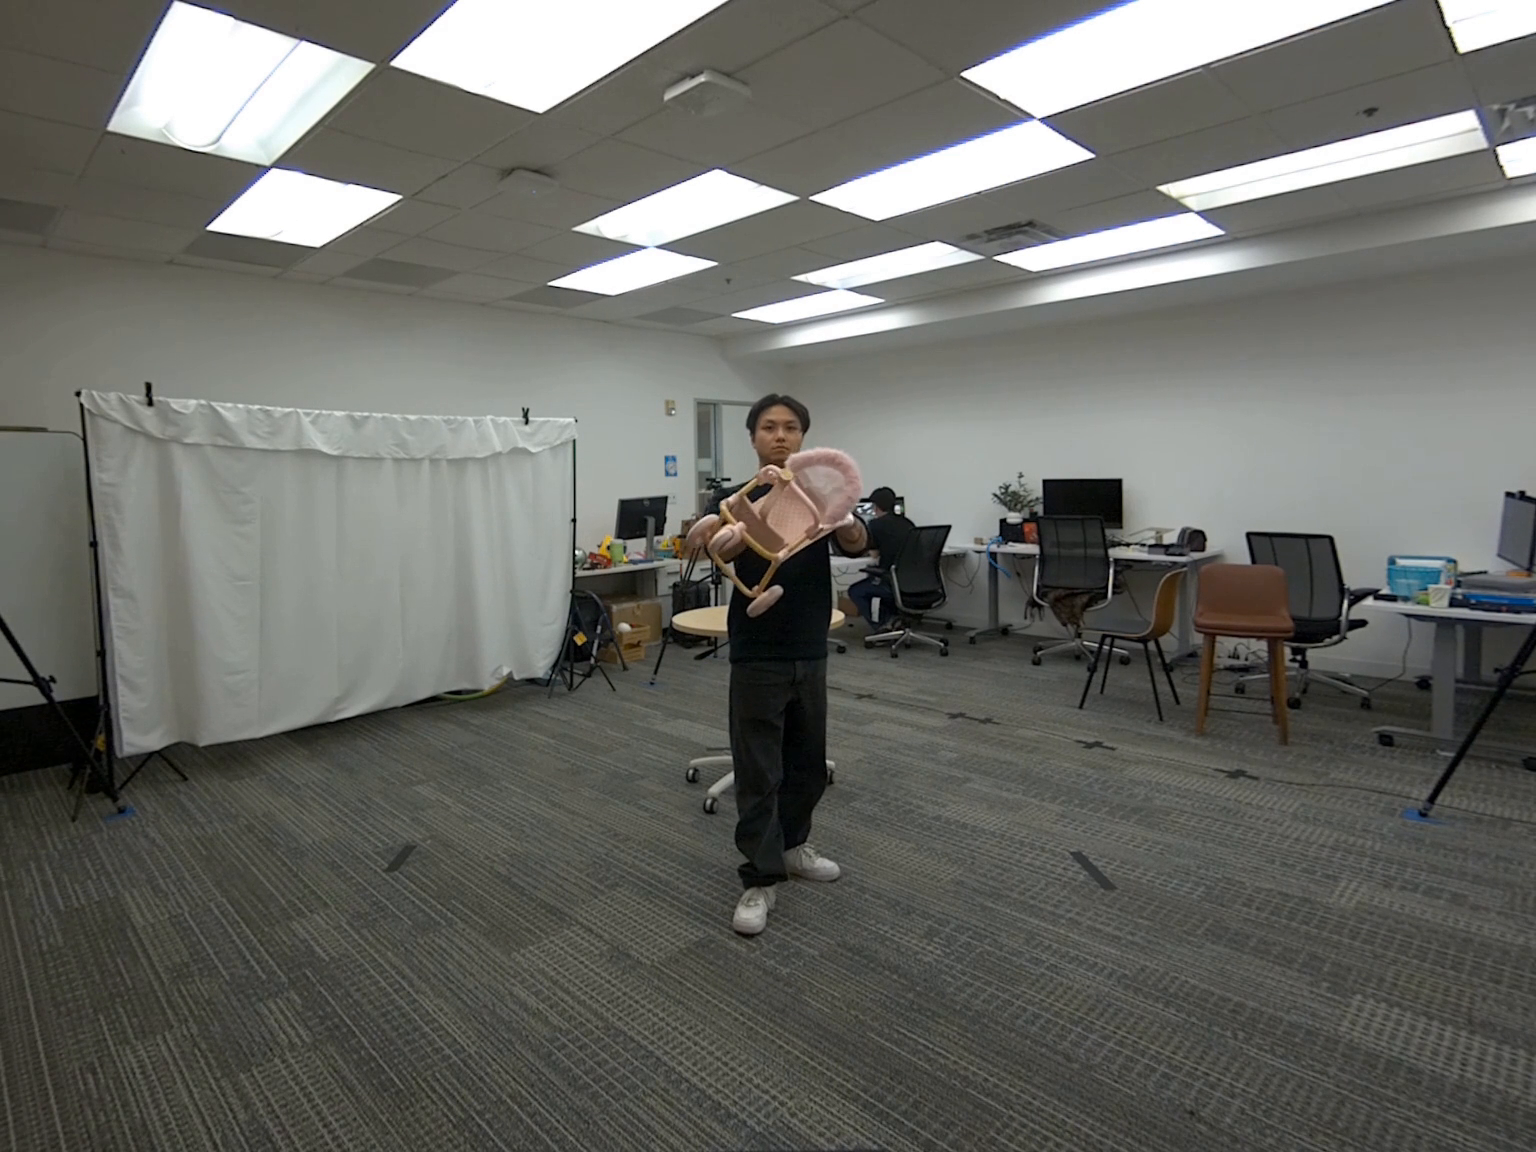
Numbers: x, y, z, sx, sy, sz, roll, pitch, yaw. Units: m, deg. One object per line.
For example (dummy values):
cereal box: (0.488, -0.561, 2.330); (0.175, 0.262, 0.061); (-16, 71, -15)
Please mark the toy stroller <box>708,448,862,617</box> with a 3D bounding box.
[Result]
toy stroller: (0.039, -0.150, 2.185); (0.532, 0.288, 0.336); (-36, -17, -23)
